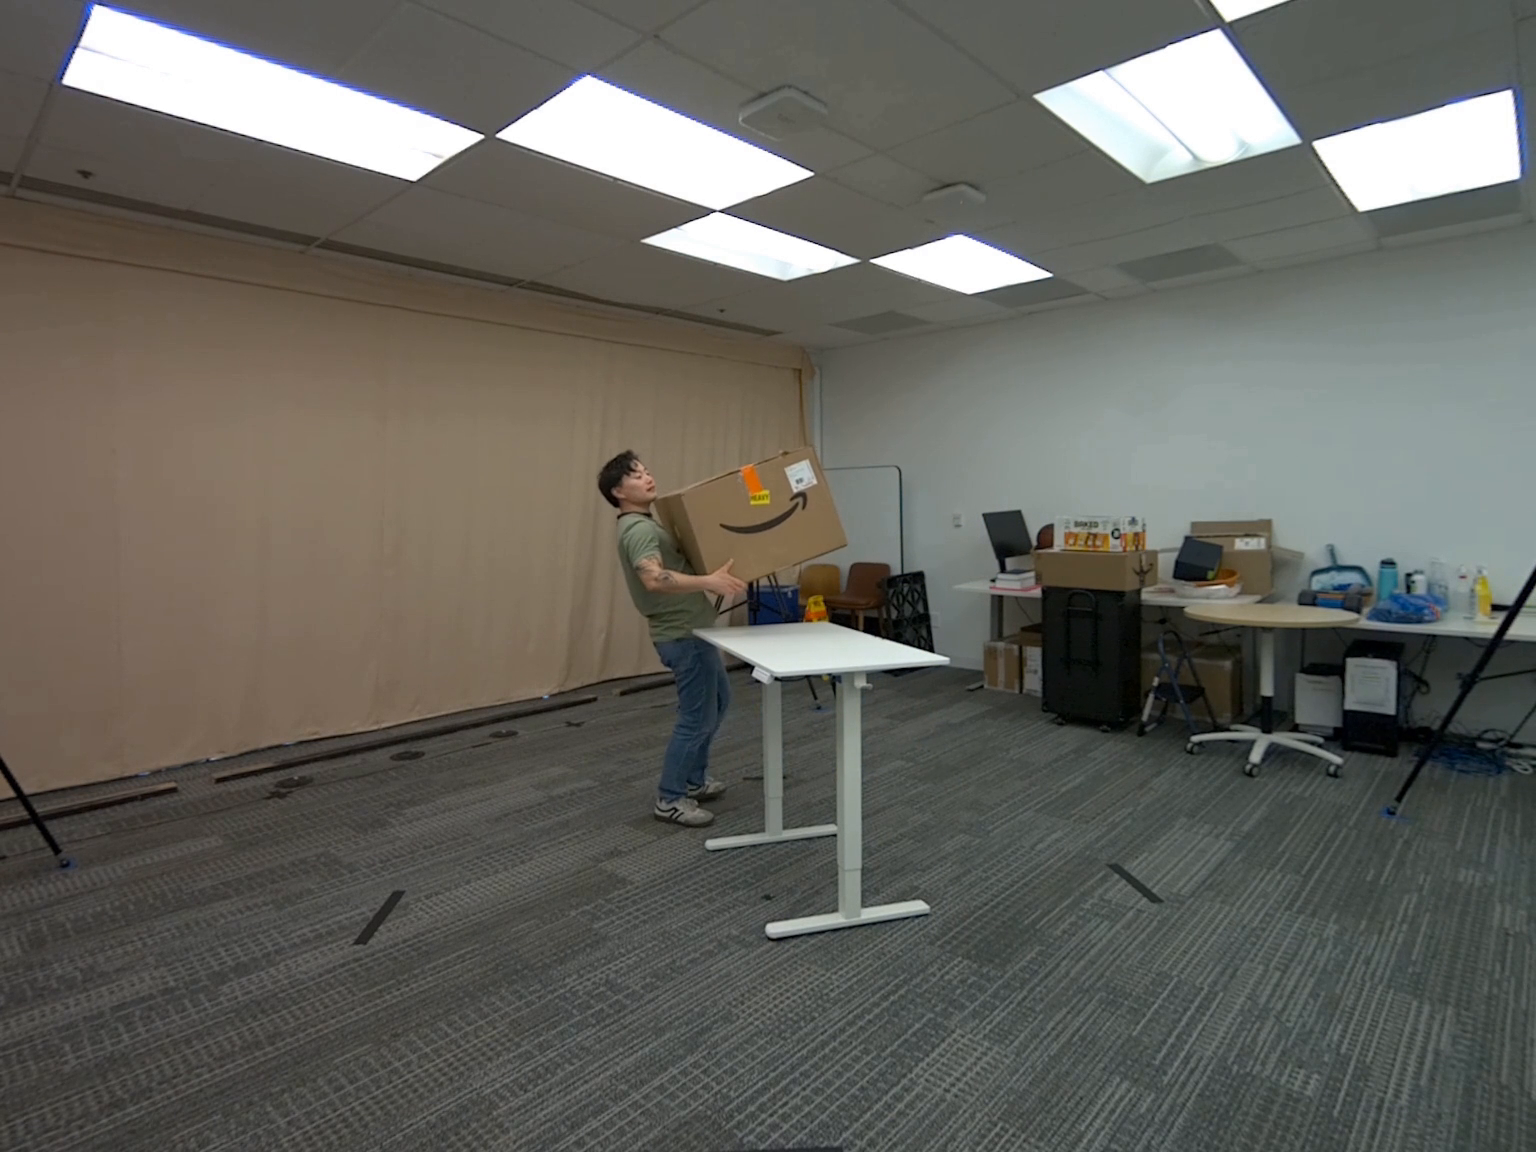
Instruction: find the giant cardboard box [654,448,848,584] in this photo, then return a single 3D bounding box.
[{"bbox_3d":[-0.125,-0.258,3.781,0.573,0.423,1.040,-22,8,-11],"label":"giant cardboard box"}]
